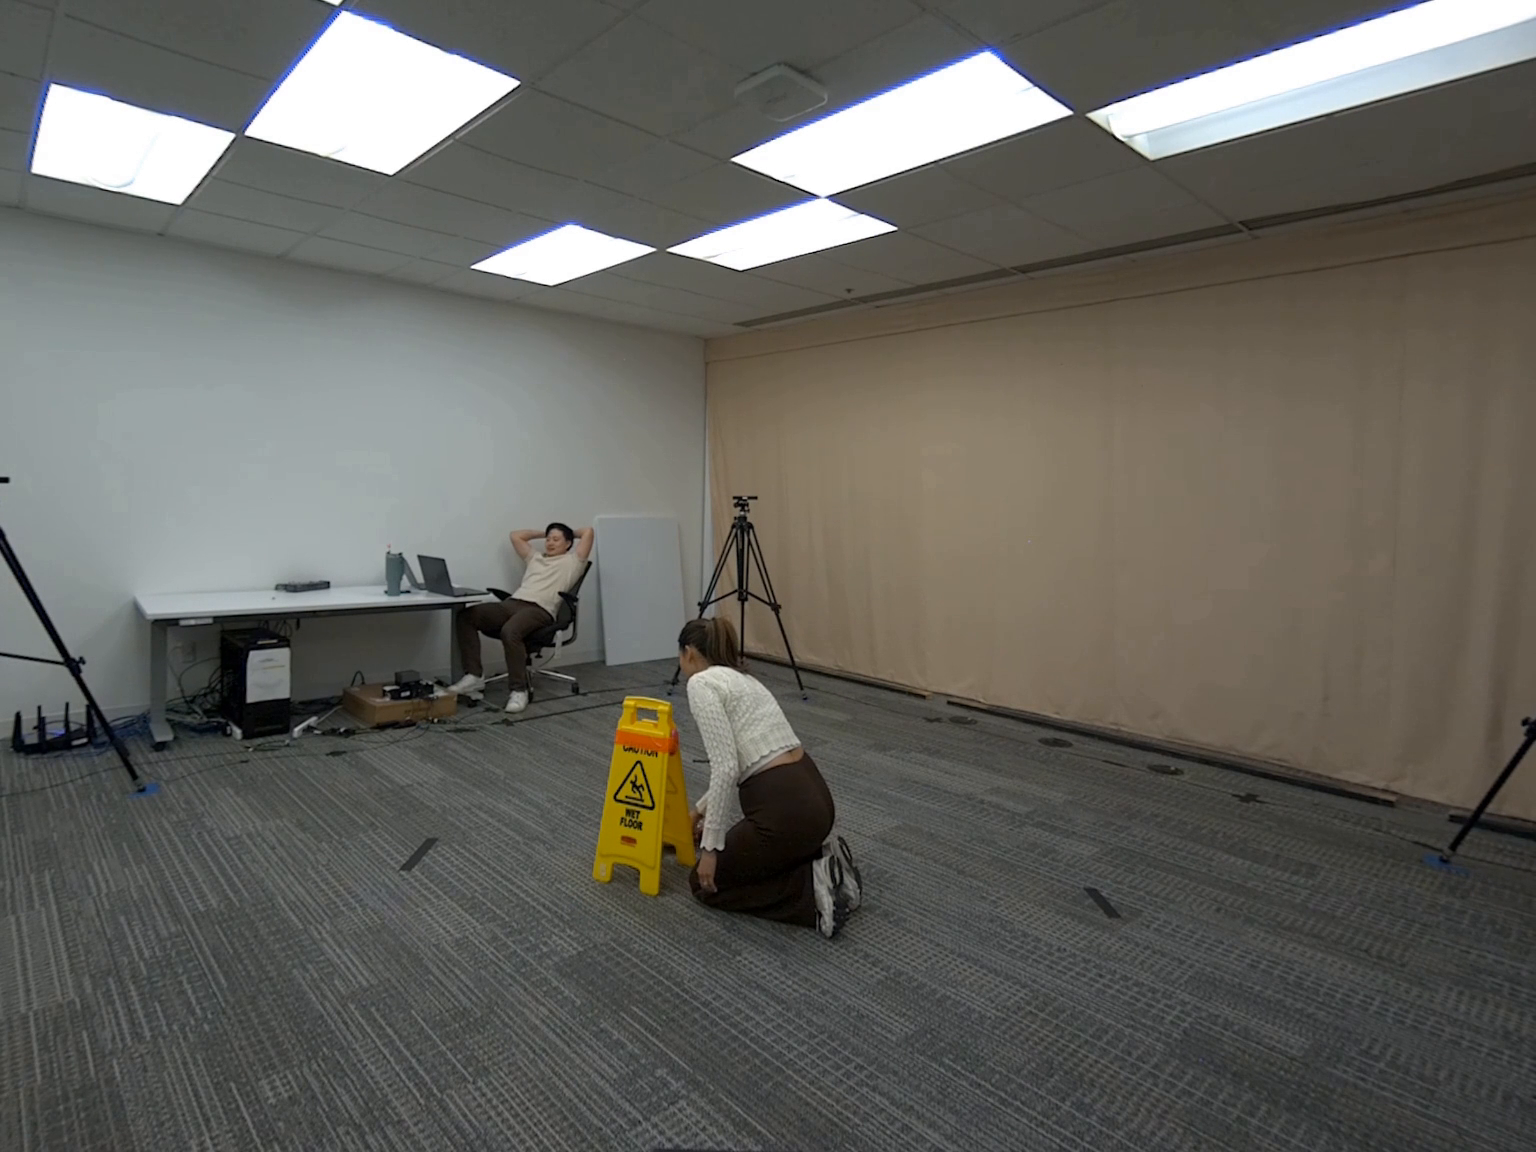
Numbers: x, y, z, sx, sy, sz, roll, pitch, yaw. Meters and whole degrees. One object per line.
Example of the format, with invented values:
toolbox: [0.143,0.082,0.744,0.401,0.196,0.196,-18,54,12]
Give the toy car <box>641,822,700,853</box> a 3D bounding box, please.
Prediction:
toy car: [-0.361,1.037,3.358,0.133,0.084,0.247,1,-13,40]
